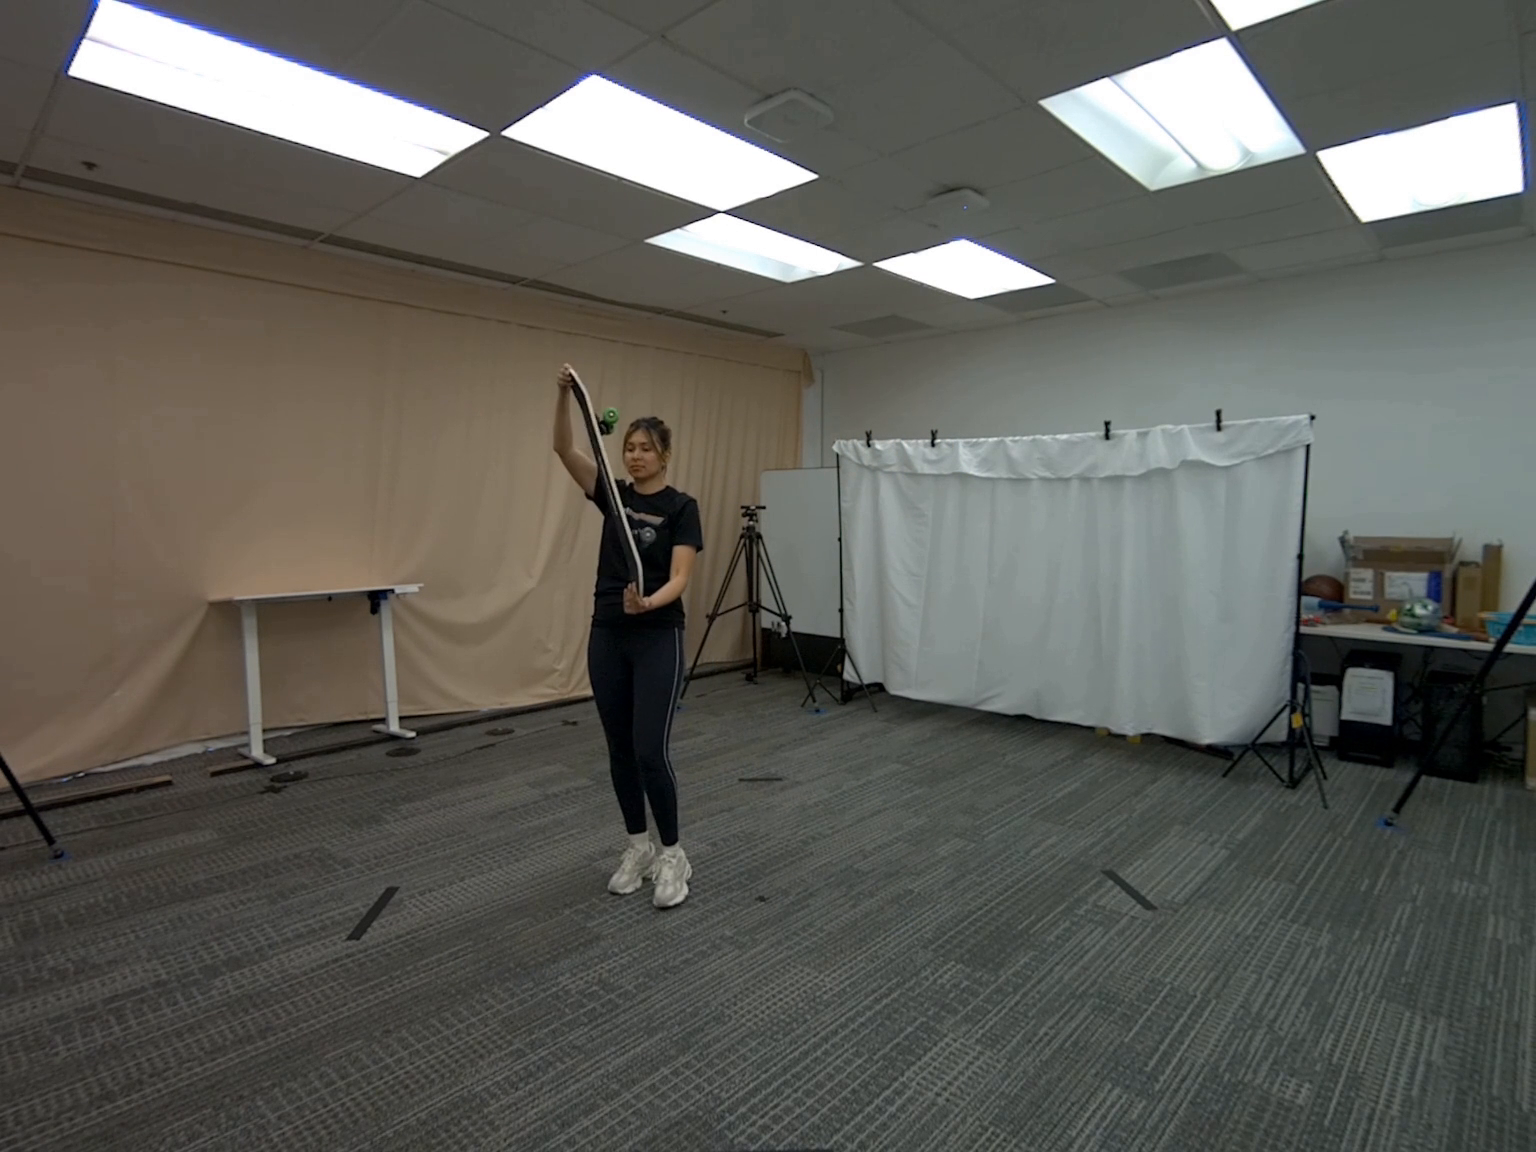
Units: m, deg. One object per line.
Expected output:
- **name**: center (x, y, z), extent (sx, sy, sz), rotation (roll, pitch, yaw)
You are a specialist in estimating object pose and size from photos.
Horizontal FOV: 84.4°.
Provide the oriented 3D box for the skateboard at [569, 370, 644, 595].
- **skateboard**: center (-0.490, -0.297, 2.728), extent (0.109, 0.787, 0.195), rotation (-17, -2, -15)
